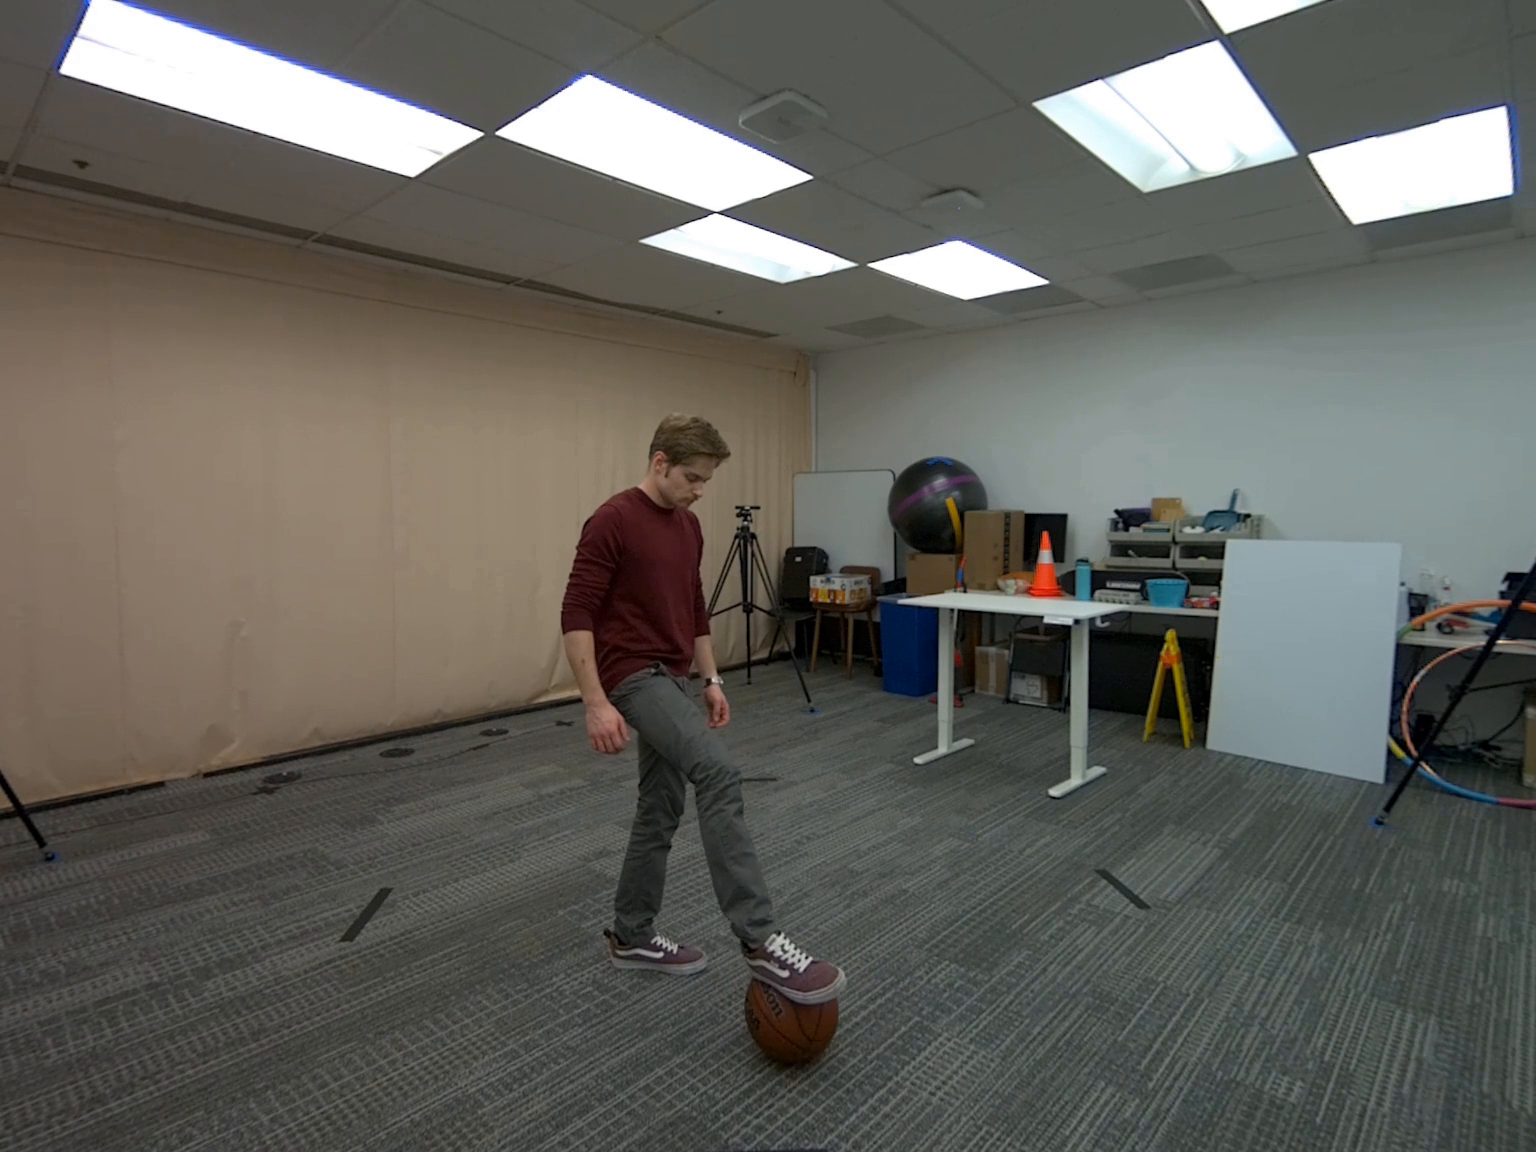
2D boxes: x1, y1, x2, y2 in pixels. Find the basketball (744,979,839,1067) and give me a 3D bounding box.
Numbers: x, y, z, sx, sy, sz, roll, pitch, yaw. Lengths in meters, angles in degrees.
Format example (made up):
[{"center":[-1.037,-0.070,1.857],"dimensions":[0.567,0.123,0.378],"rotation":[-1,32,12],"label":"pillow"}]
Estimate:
[{"center":[0.065,1.096,2.135],"dimensions":[0.236,0.235,0.237],"rotation":[0,4,-2],"label":"basketball"}]
